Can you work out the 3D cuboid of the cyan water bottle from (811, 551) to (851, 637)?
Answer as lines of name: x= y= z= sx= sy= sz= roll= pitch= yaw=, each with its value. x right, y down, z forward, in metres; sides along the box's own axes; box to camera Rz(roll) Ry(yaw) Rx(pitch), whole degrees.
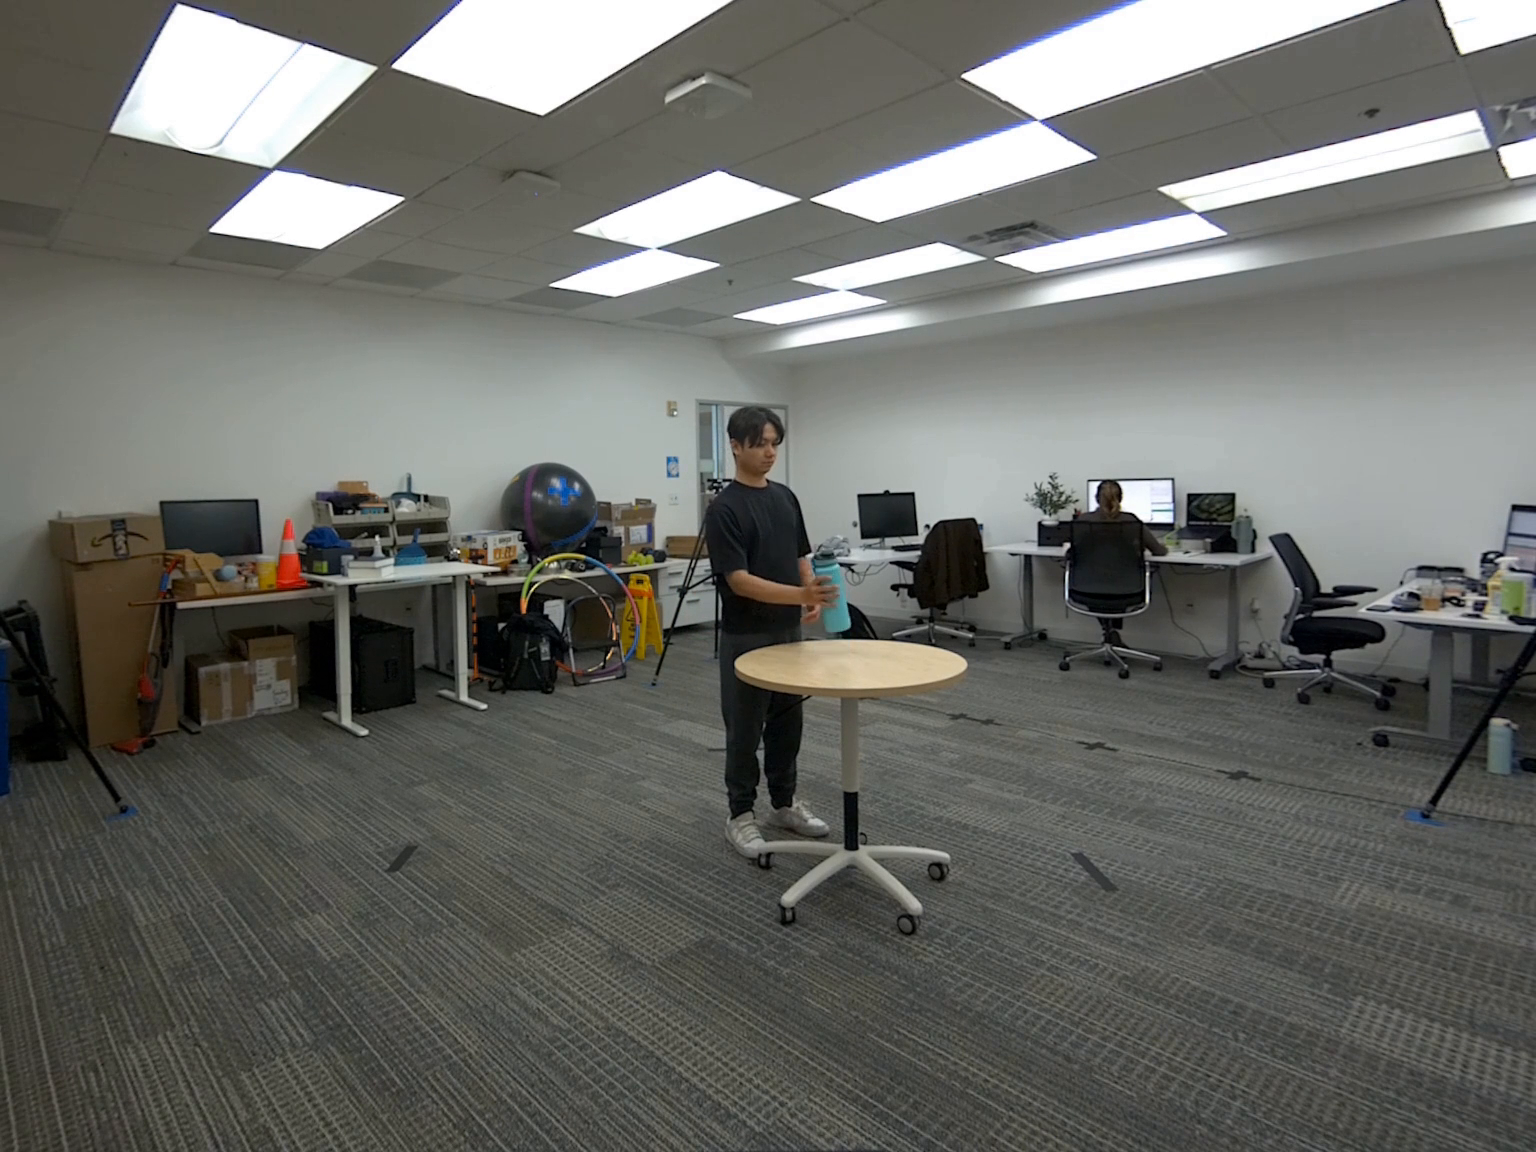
cyan water bottle: x=0.217 y=0.047 z=2.942 sx=0.092 sy=0.281 sz=0.093 roll=-12 pitch=7 yaw=0
